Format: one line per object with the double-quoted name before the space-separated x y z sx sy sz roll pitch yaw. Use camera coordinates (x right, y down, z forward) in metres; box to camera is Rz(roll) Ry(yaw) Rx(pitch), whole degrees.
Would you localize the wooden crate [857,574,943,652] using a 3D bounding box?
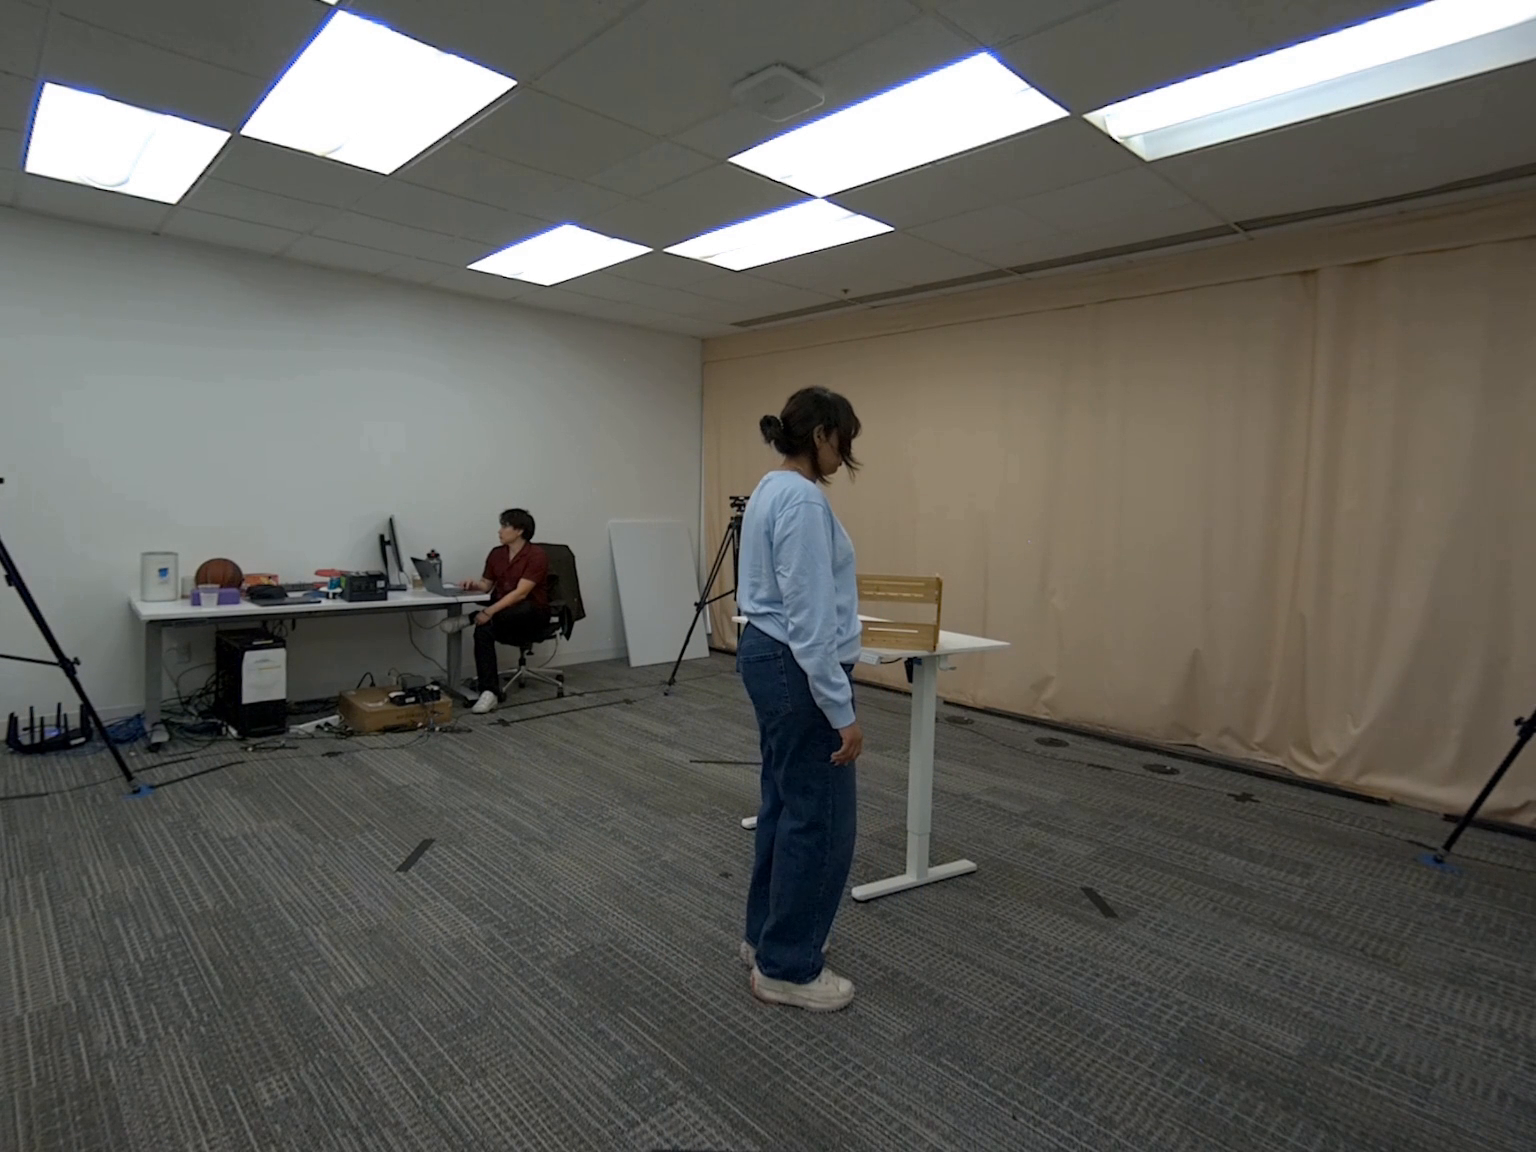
"wooden crate" 0.445 0.108 2.986 0.328 0.272 0.300 3 5 12
